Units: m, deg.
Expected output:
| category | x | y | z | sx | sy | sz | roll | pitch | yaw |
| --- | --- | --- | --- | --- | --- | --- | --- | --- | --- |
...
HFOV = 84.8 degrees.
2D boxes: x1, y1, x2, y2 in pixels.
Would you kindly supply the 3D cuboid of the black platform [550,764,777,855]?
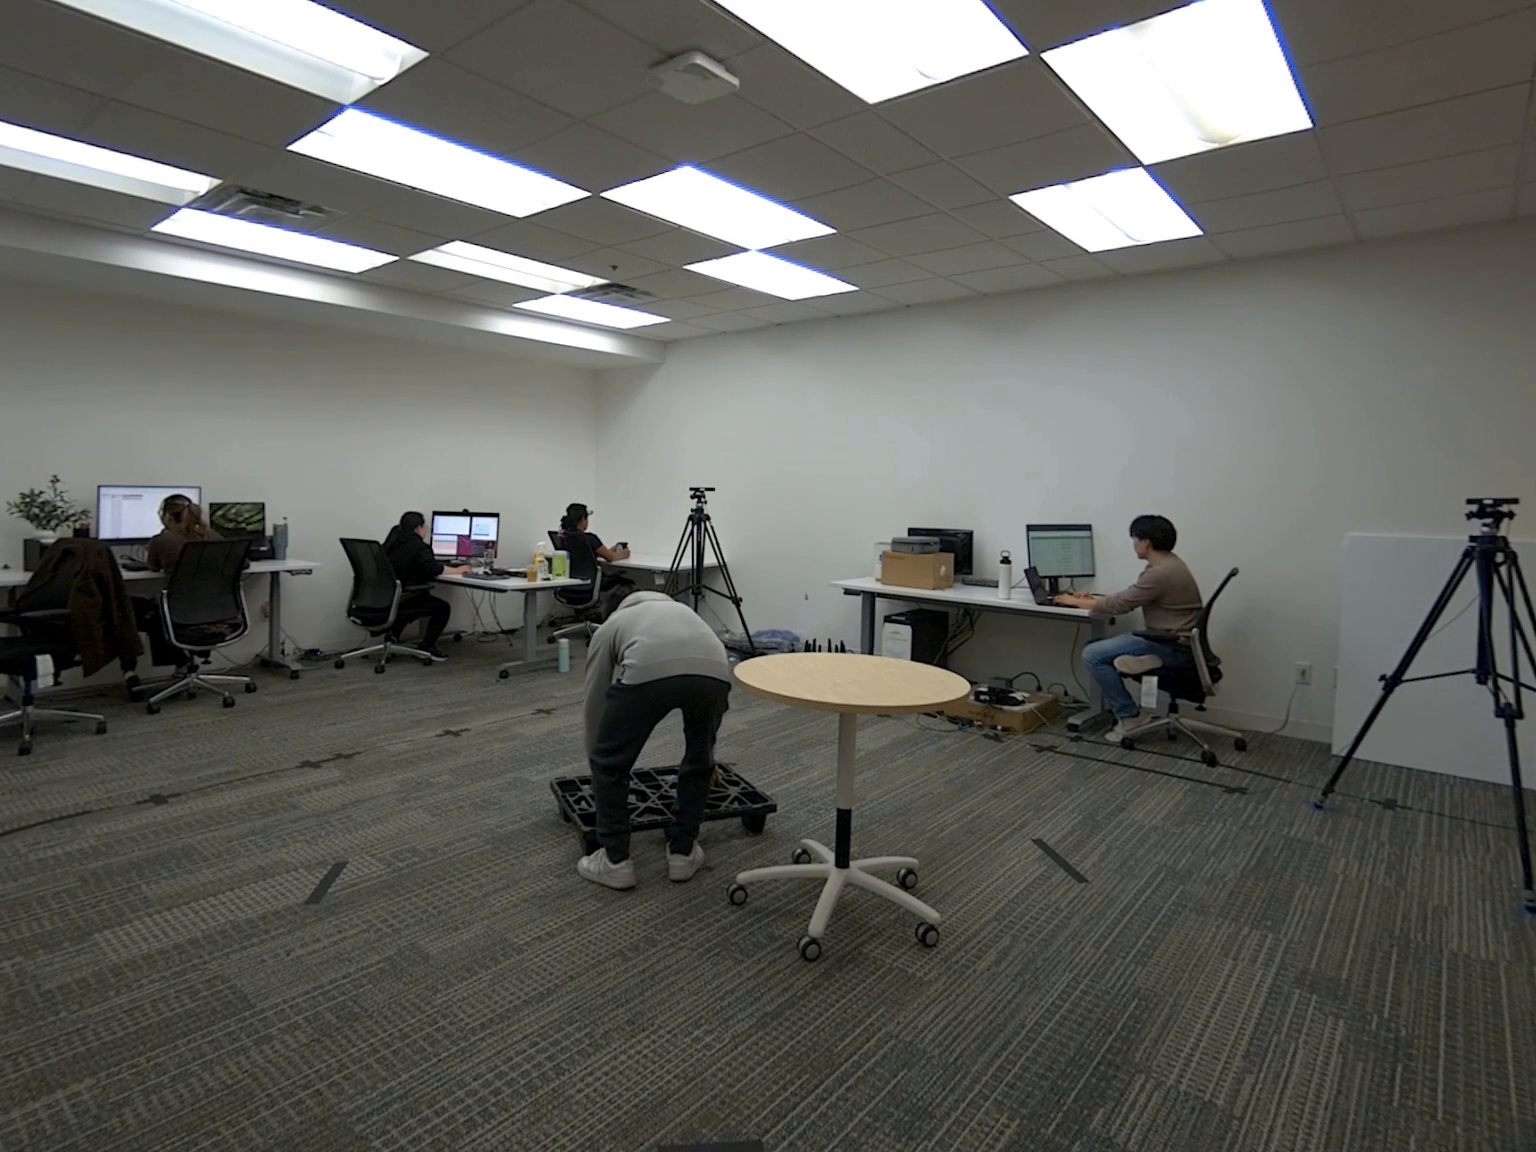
| category | x | y | z | sx | sy | sz | roll | pitch | yaw |
| --- | --- | --- | --- | --- | --- | --- | --- | --- | --- |
| black platform | -0.454 | 0.955 | 3.529 | 0.787 | 0.143 | 0.622 | -2 | 7 | -24 |
